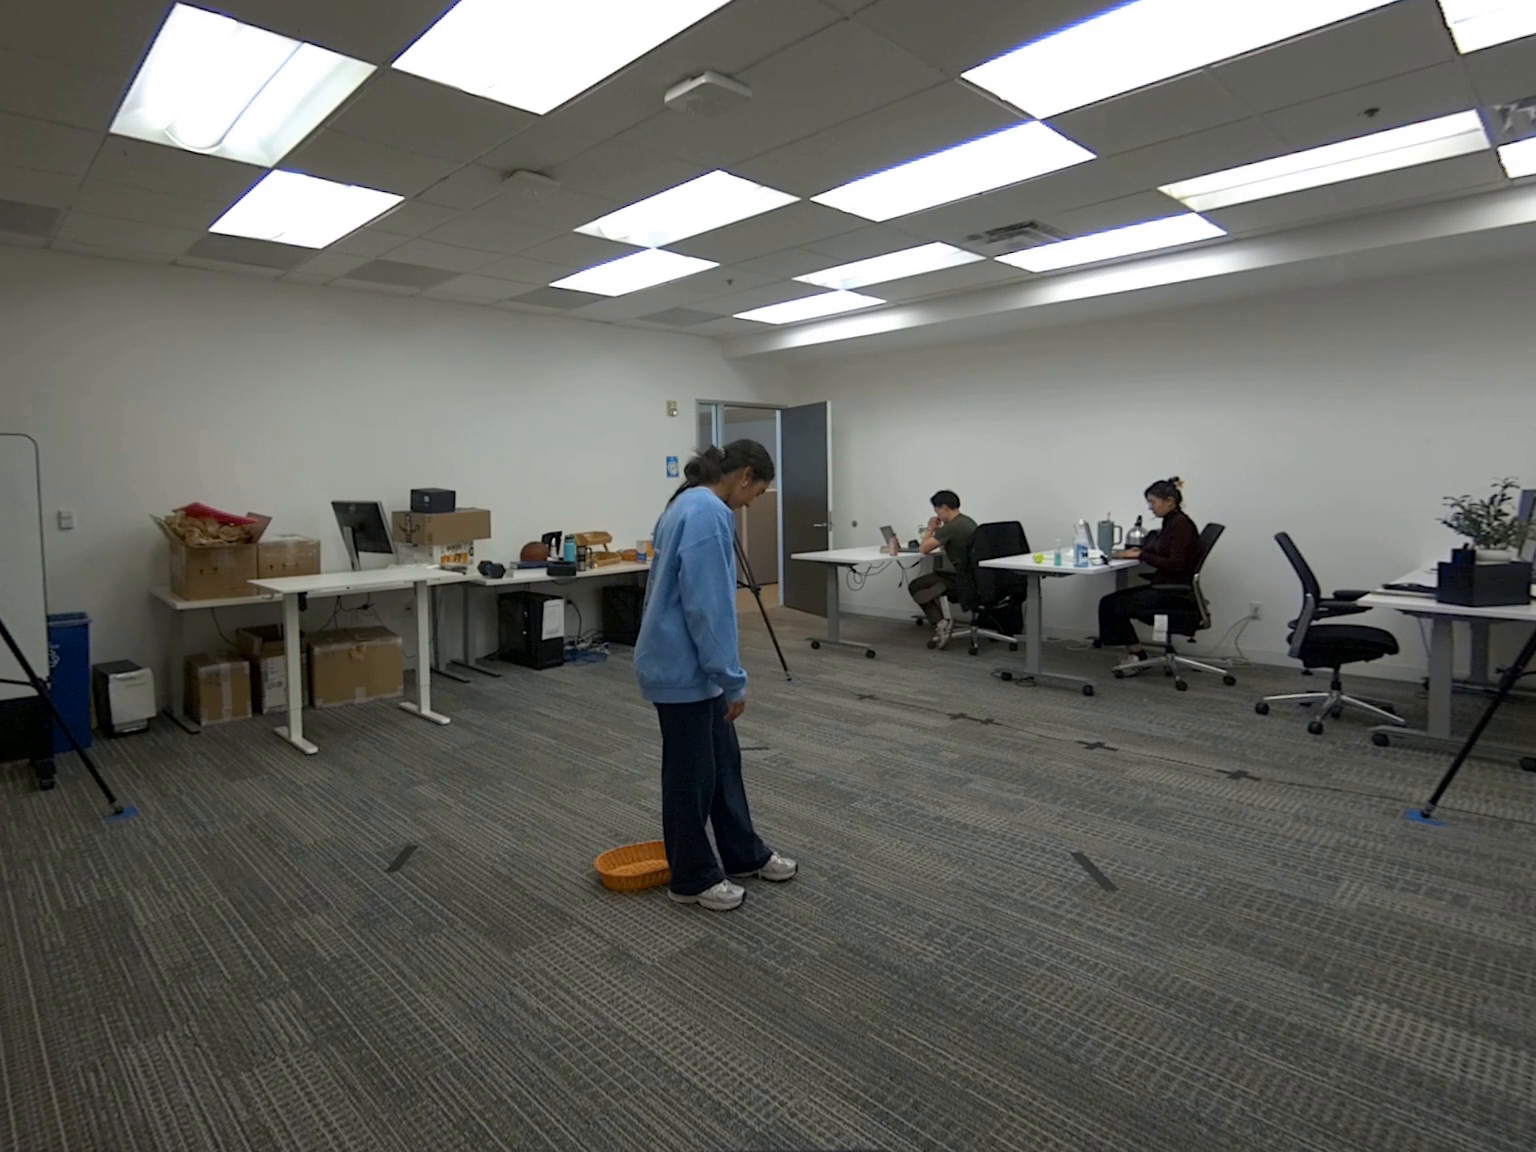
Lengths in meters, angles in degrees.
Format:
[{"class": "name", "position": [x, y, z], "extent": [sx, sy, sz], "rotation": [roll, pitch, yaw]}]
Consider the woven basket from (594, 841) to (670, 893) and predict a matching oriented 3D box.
[{"class": "woven basket", "position": [-0.433, 1.022, 3.011], "extent": [0.343, 0.073, 0.258], "rotation": [-4, 6, -24]}]
